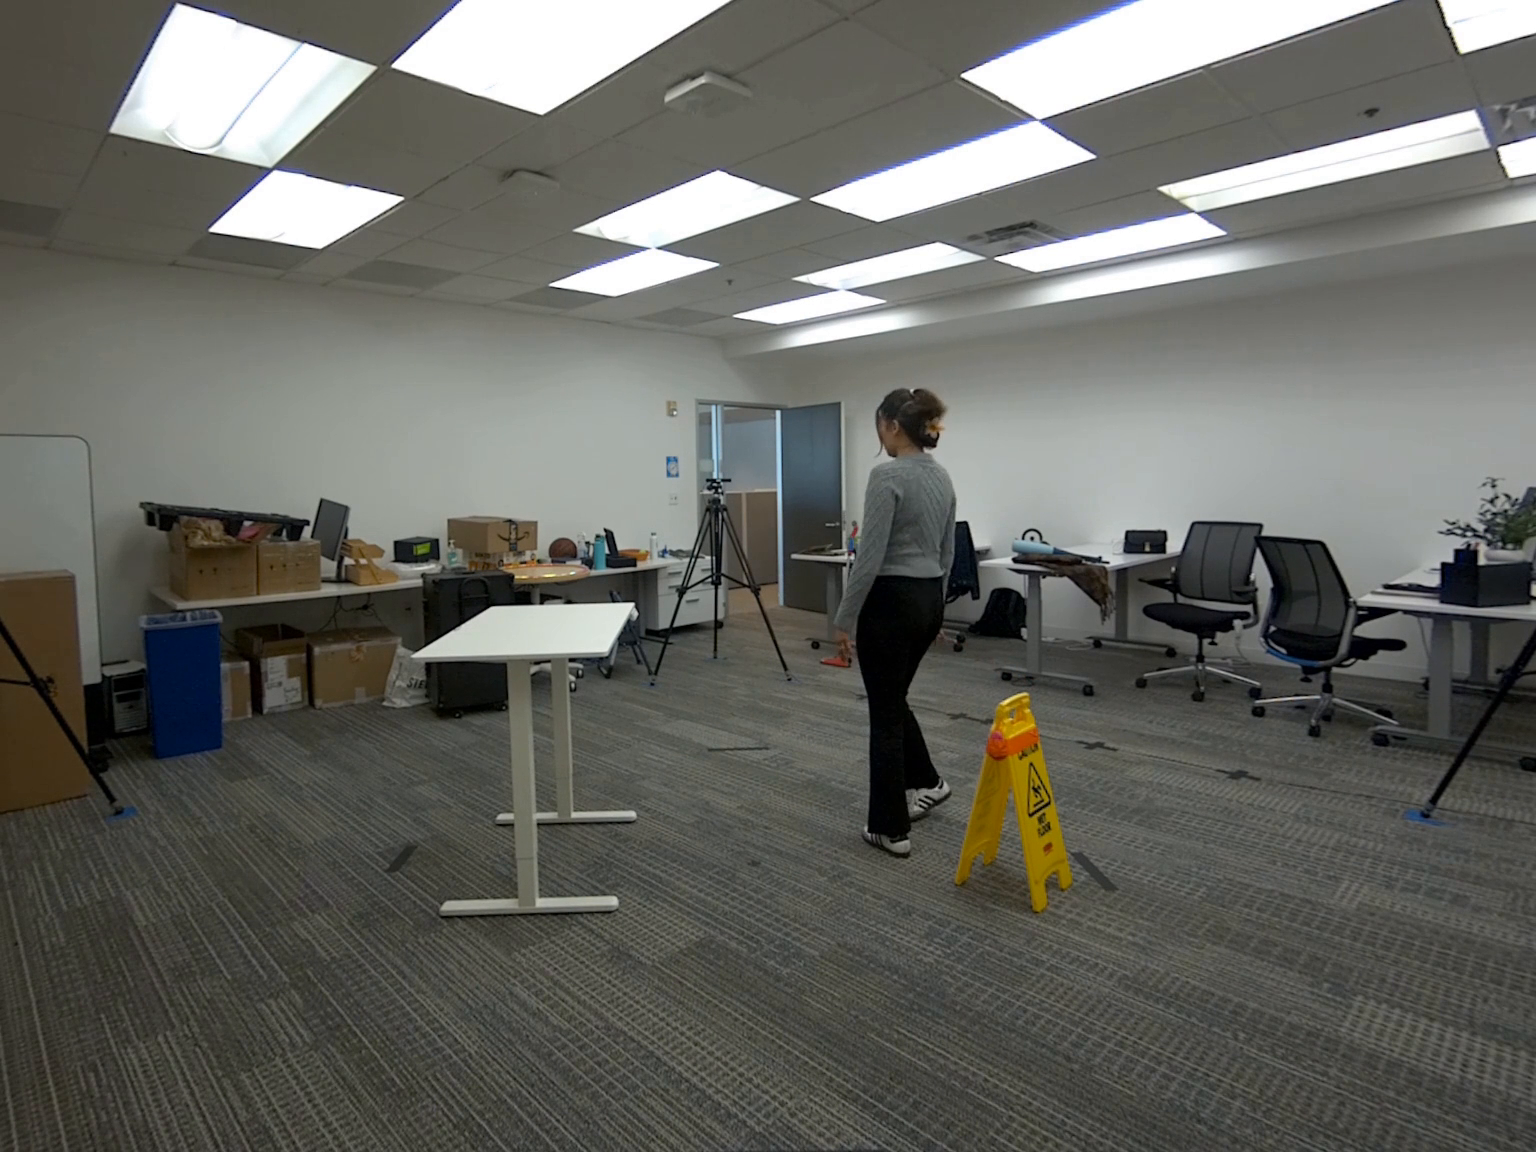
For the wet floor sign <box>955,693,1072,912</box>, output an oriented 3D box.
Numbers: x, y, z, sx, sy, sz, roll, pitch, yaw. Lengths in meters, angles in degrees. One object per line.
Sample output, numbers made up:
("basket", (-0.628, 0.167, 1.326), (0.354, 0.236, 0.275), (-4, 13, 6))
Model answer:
("wet floor sign", (0.836, 0.732, 2.893), (0.298, 0.643, 0.275), (3, 6, 42))
